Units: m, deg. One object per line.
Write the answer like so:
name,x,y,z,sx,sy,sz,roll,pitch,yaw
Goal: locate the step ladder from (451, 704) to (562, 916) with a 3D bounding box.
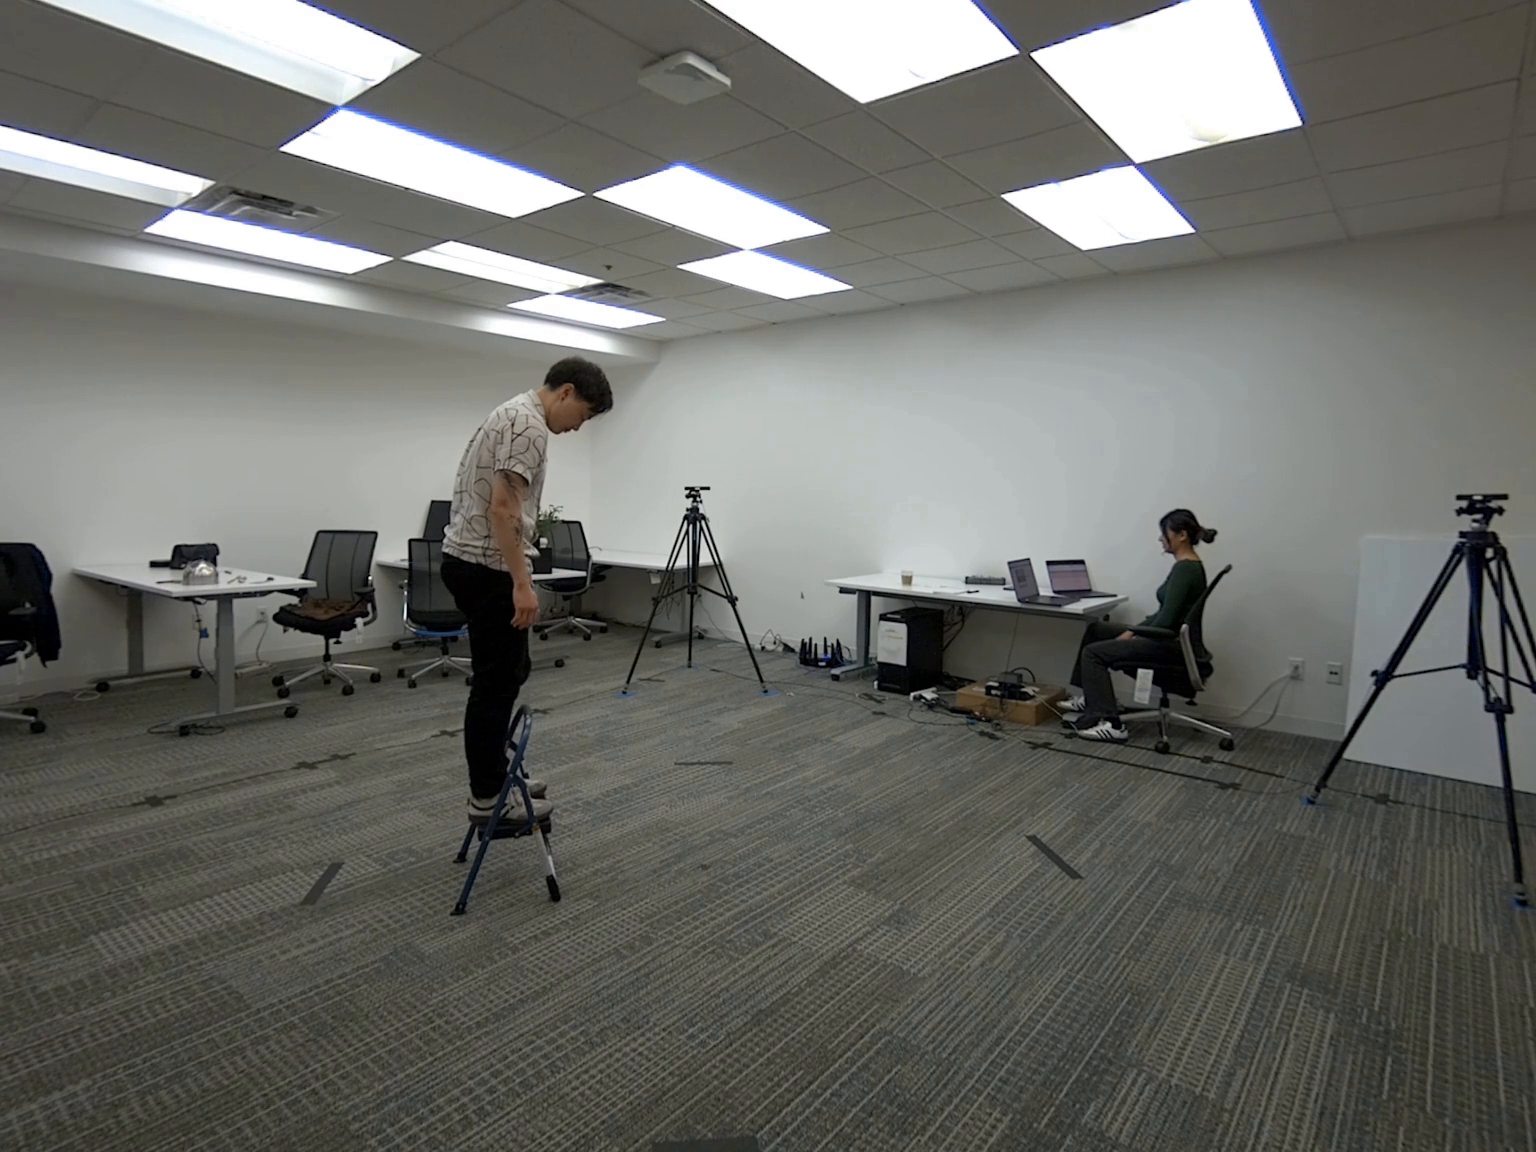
step ladder,-0.930,0.771,2.975,0.343,0.604,0.440,-1,4,-18
